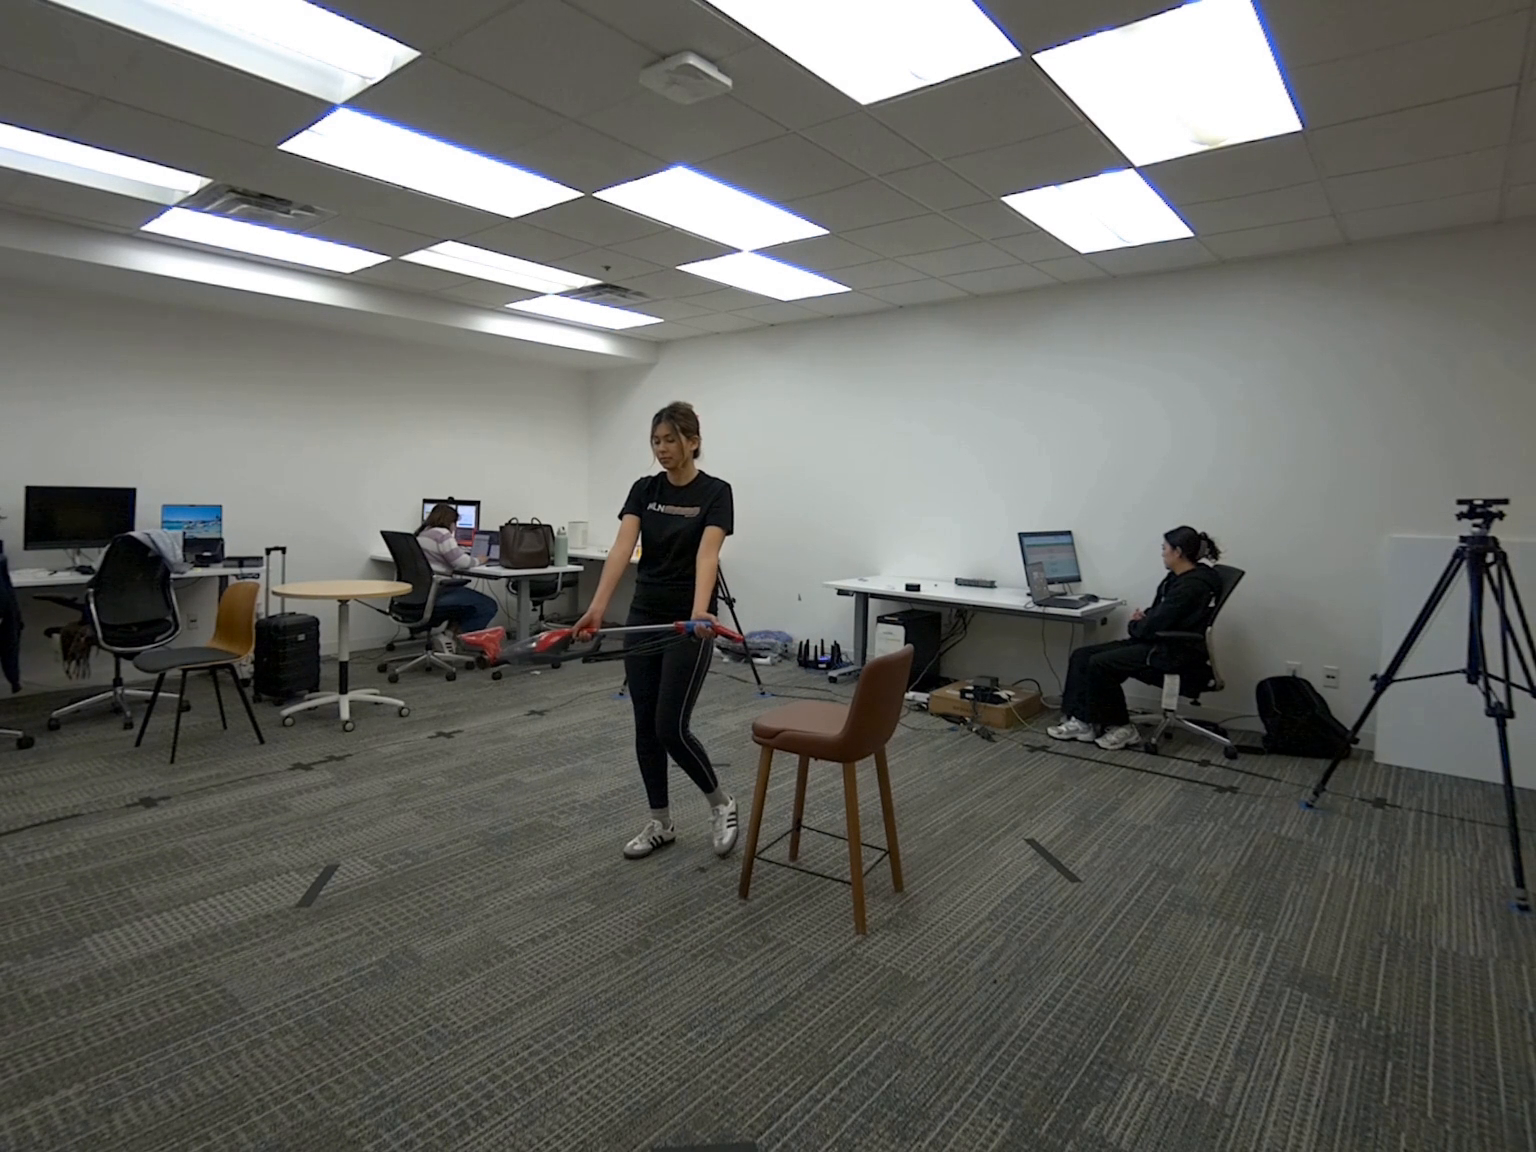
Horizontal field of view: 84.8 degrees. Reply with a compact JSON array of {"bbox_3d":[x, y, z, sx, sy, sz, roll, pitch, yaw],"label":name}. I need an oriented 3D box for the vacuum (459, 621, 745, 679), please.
[{"bbox_3d":[-0.585,0.249,2.961,1.073,0.143,0.249,-4,8,24],"label":"vacuum"}]
